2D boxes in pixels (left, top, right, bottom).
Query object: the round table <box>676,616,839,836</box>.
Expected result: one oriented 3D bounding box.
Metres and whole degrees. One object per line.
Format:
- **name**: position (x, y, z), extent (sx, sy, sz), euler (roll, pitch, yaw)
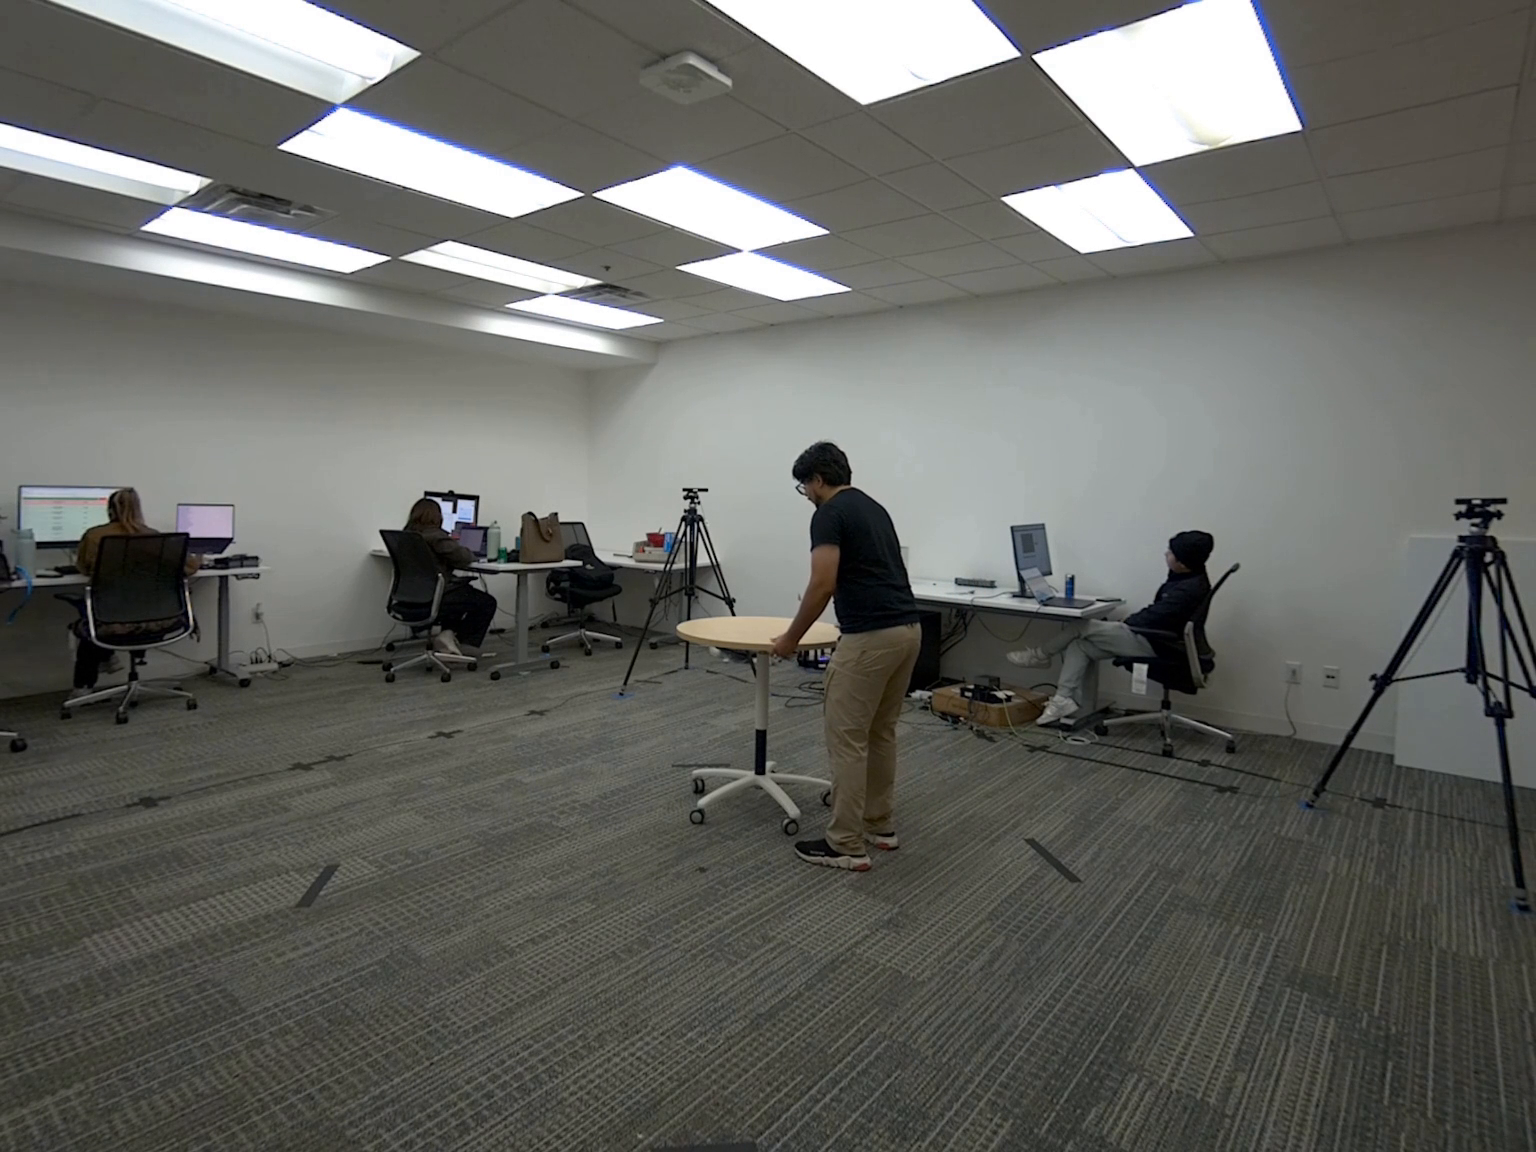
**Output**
- **round table**: position (-0.037, 0.617, 3.756), extent (0.784, 0.784, 0.789), euler (1, 4, -2)
